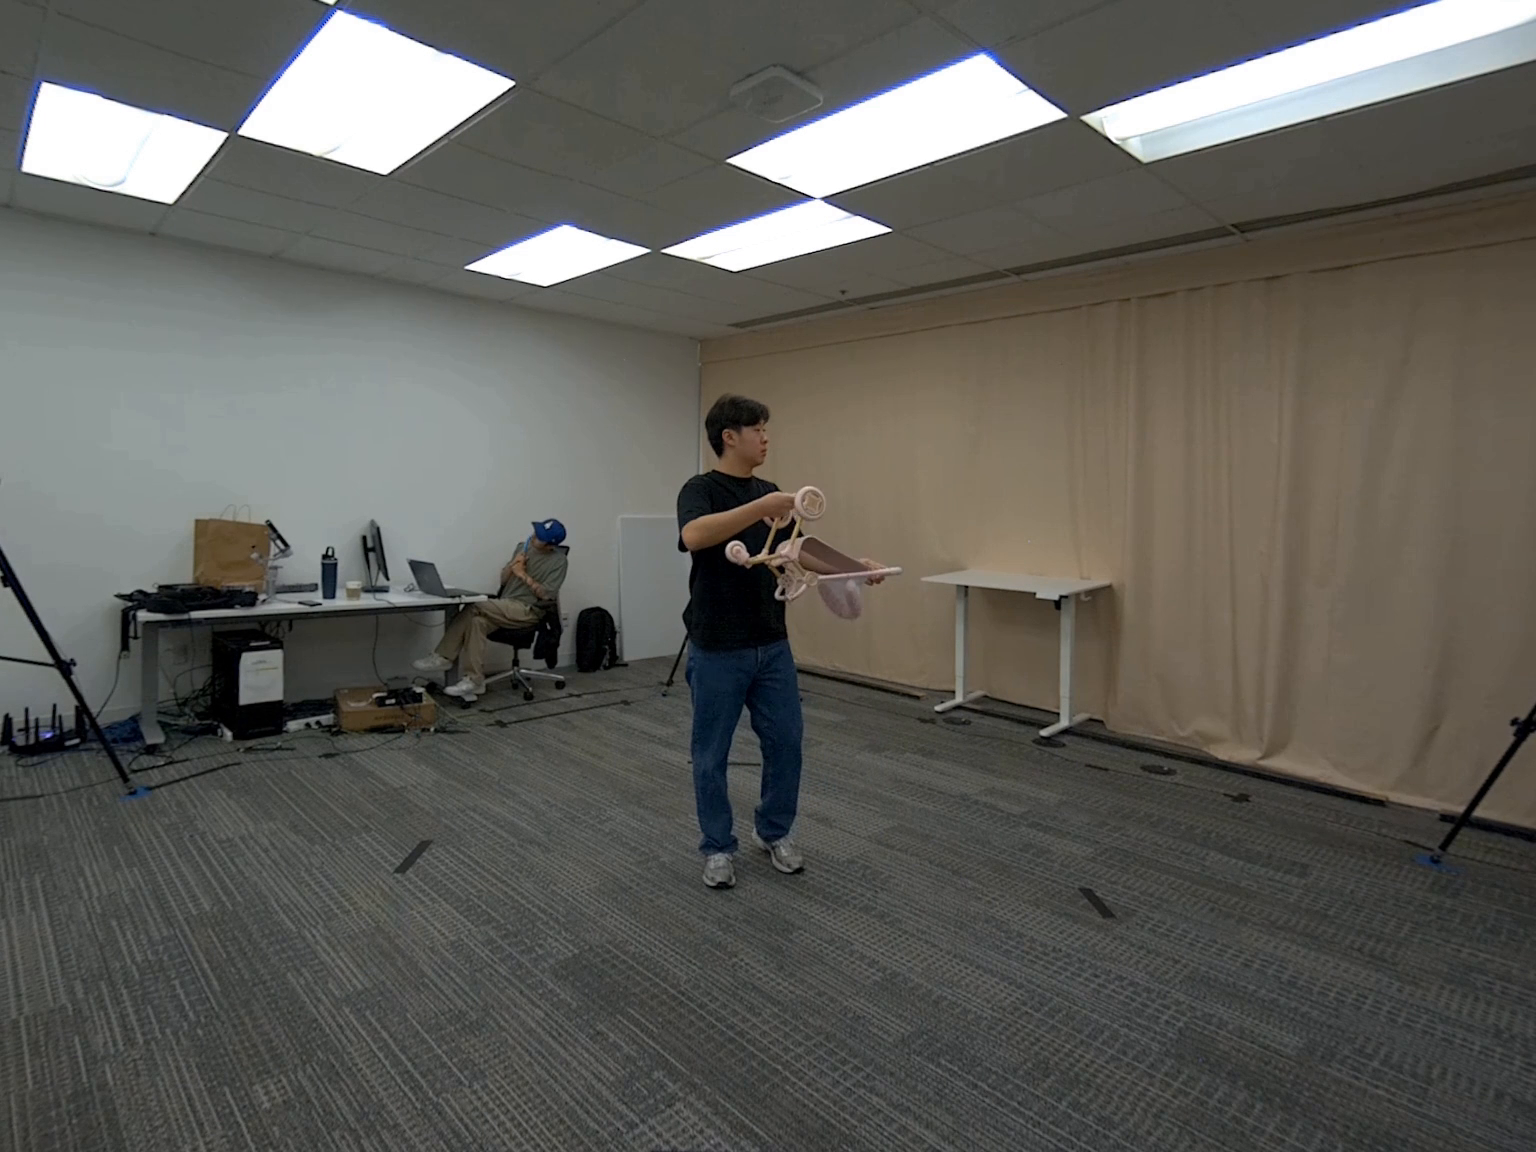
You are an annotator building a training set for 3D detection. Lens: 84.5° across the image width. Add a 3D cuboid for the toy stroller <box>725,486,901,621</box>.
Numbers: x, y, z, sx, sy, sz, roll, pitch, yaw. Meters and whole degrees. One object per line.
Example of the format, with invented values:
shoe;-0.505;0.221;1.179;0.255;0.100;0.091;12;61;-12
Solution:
toy stroller;0.131;-0.042;2.744;0.527;0.342;0.285;39;-22;-15
